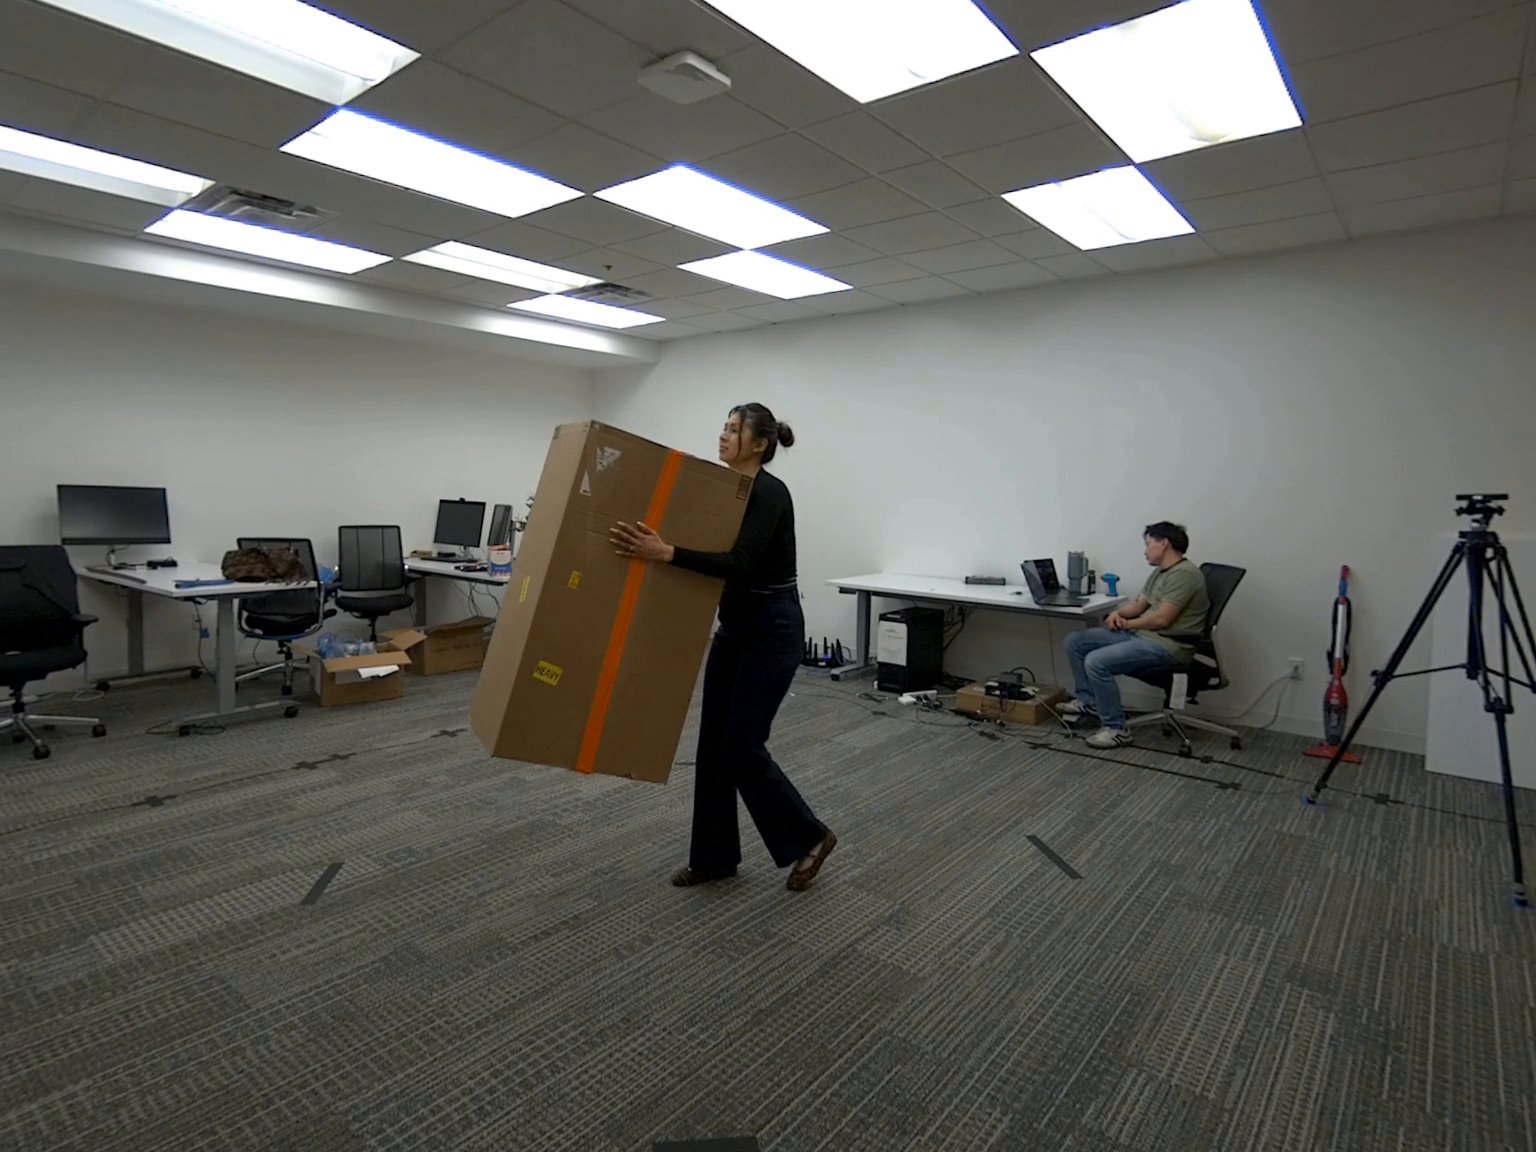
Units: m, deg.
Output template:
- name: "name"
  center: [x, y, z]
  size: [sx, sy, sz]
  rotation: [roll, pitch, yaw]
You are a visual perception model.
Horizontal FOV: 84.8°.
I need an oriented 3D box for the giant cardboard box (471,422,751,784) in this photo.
- name: "giant cardboard box"
  center: [-0.525, 0.082, 2.778]
  size: [0.560, 1.028, 0.439]
  rotation: [17, -4, -28]
